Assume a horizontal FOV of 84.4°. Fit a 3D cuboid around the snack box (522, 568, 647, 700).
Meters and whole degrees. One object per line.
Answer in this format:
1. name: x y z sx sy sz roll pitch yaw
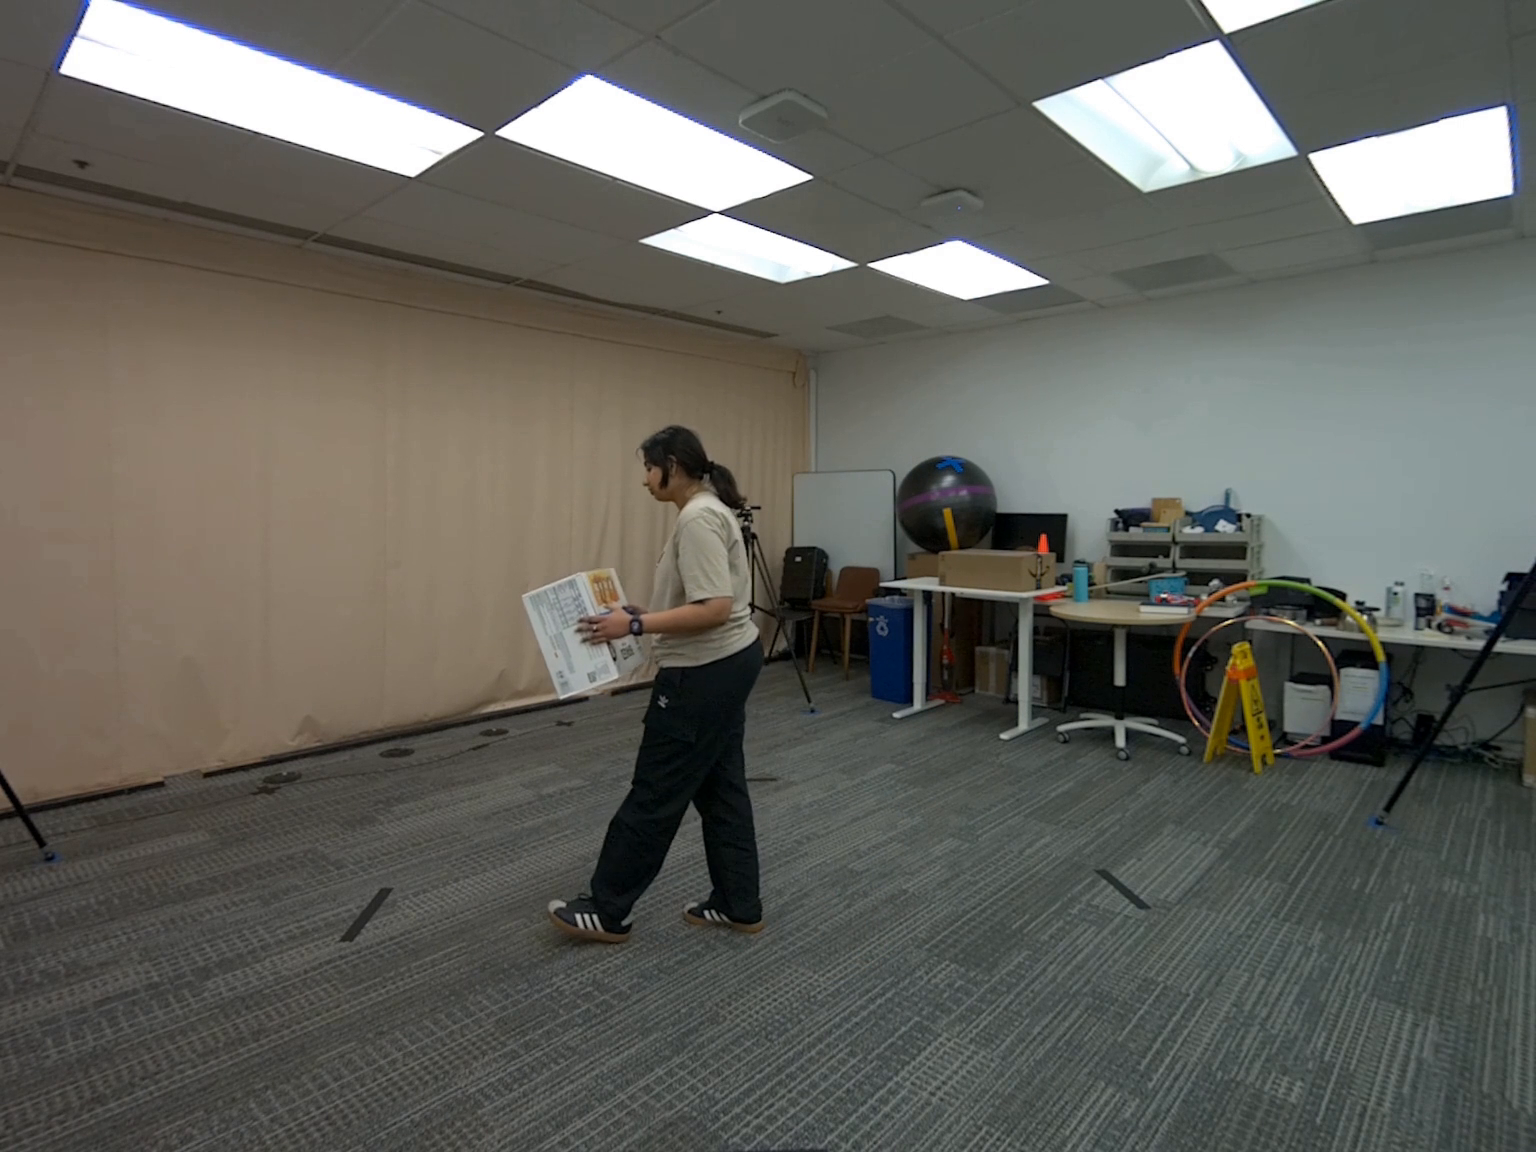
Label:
1. snack box: -0.588 0.174 2.736 0.207 0.341 0.402 -21 0 6
